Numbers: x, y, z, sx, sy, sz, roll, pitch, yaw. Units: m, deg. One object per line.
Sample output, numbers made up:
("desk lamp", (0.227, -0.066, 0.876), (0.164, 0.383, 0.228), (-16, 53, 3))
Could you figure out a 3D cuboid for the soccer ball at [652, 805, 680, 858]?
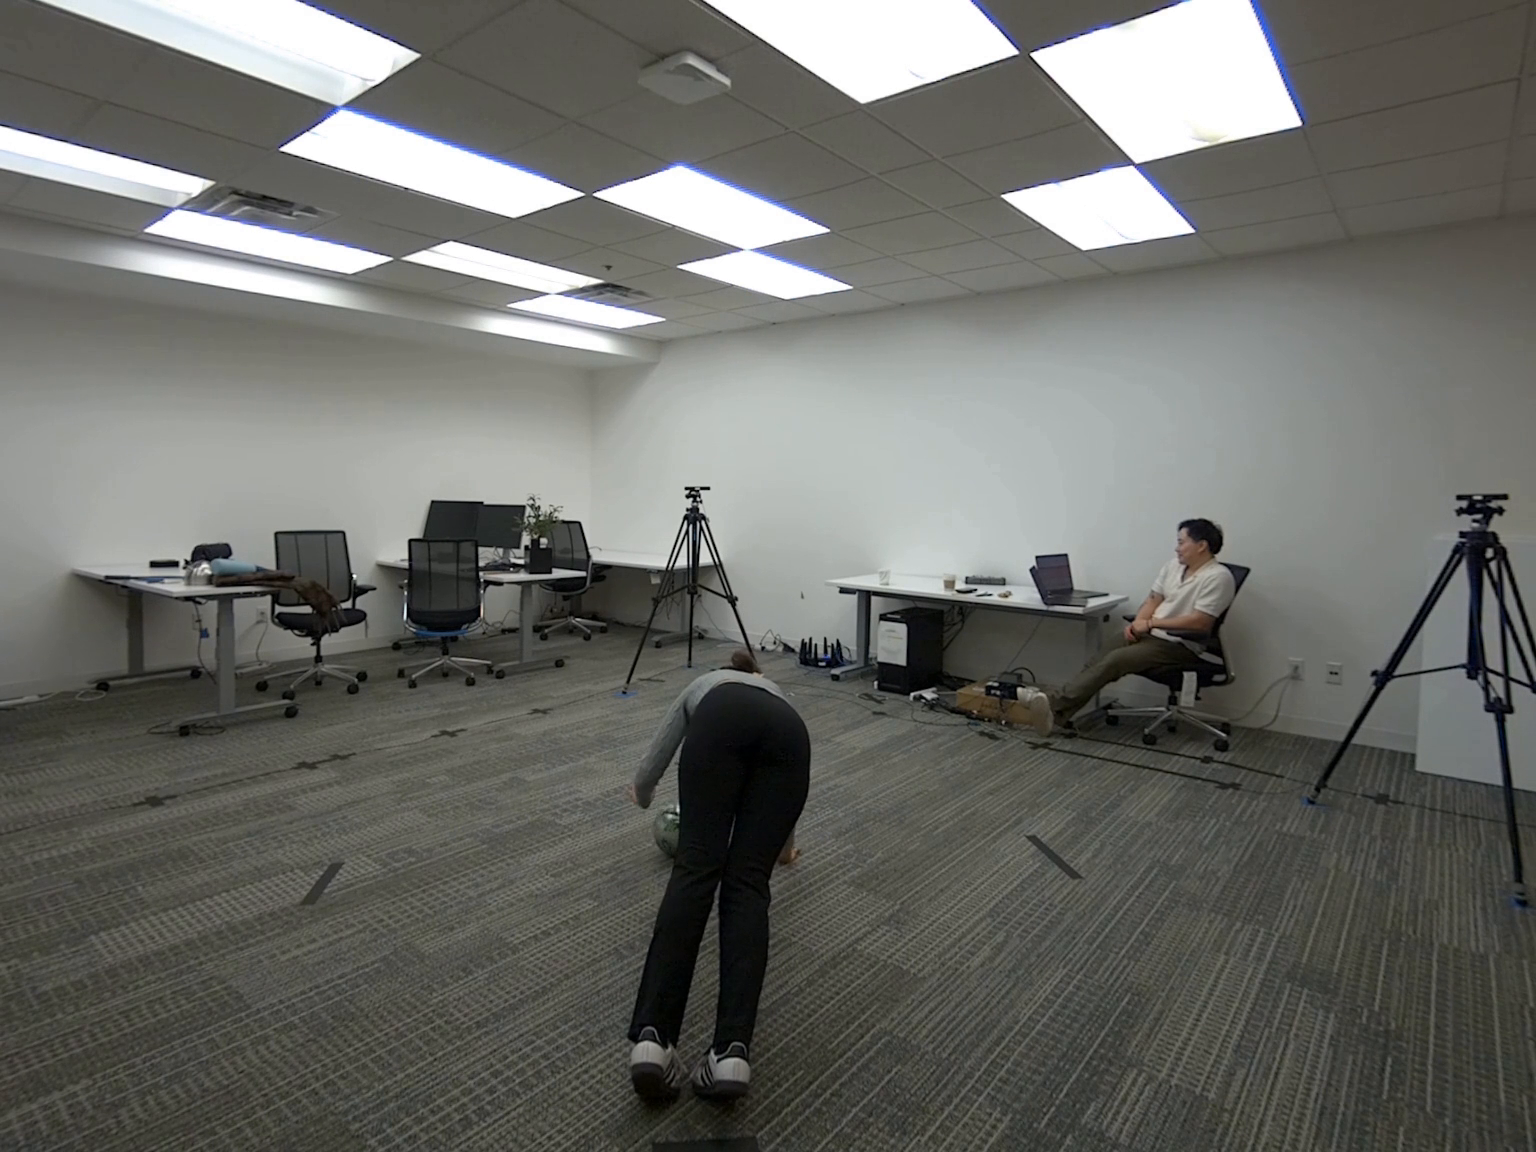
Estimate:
("soccer ball", (-0.351, 0.956, 3.223), (0.187, 0.187, 0.188), (1, 4, -2))
